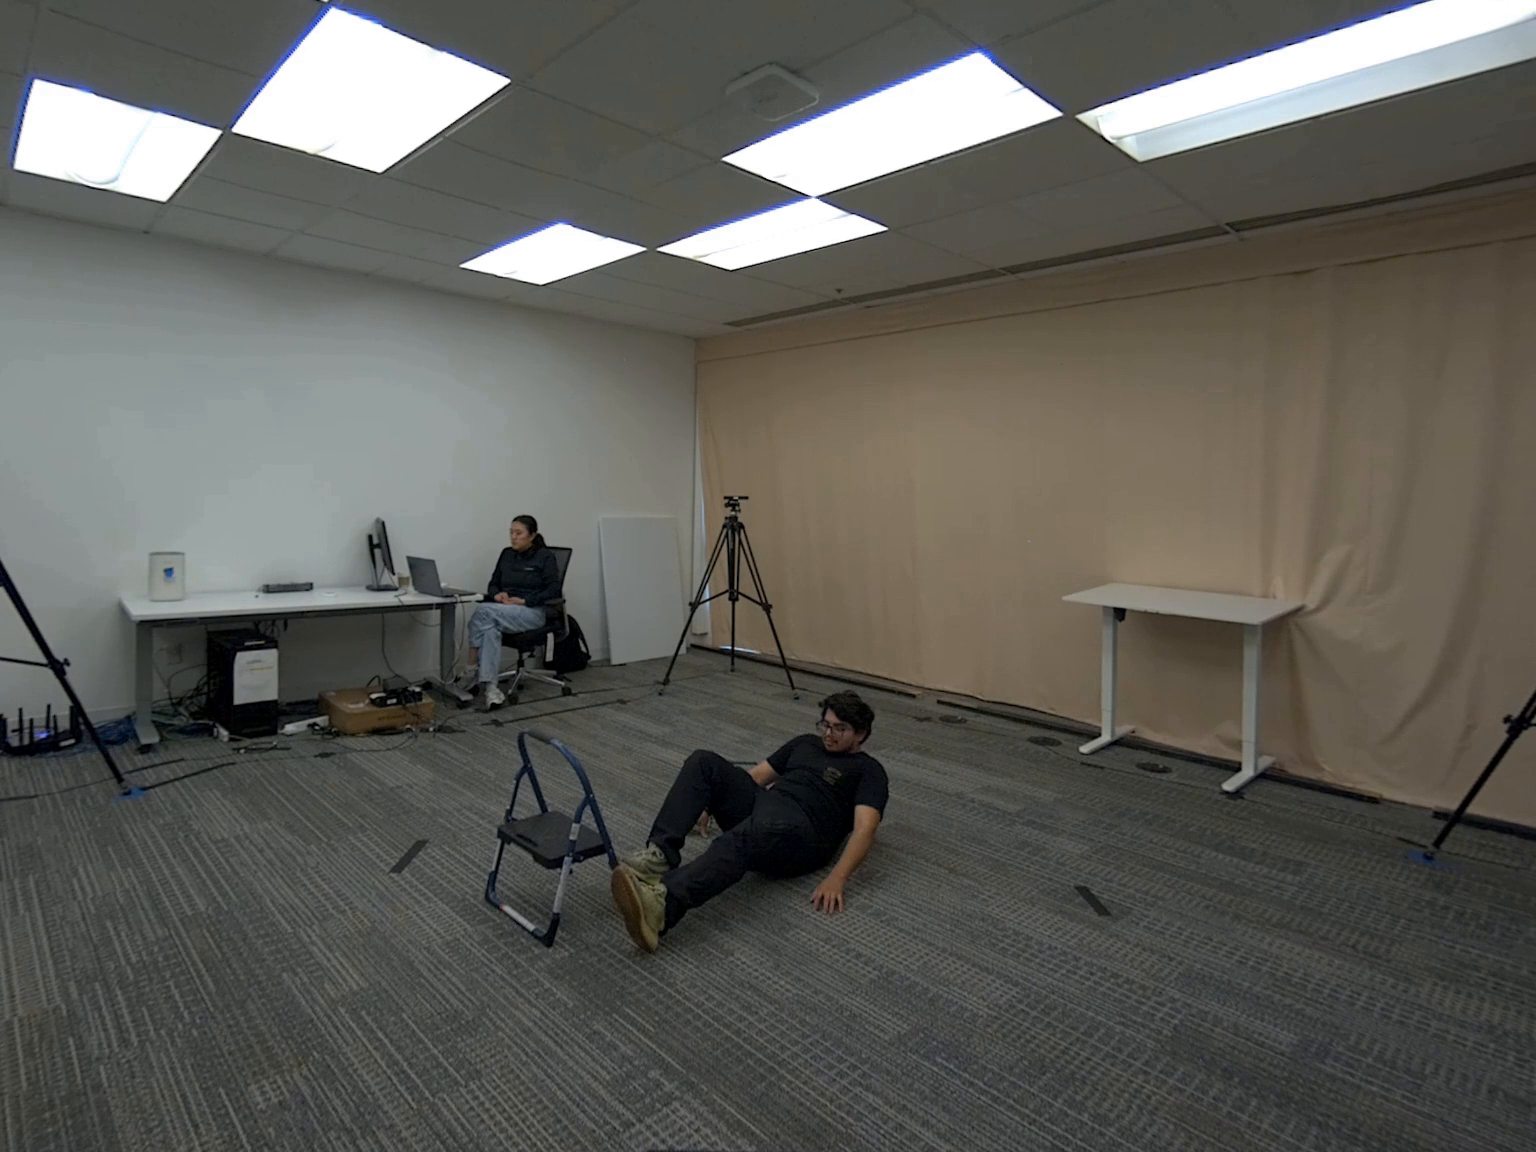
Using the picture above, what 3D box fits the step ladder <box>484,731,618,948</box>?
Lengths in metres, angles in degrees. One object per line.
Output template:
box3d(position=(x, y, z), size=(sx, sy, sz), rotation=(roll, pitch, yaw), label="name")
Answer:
box3d(position=(-0.702, 0.814, 2.823), size=(0.341, 0.604, 0.441), rotation=(-2, 5, -45), label="step ladder")
